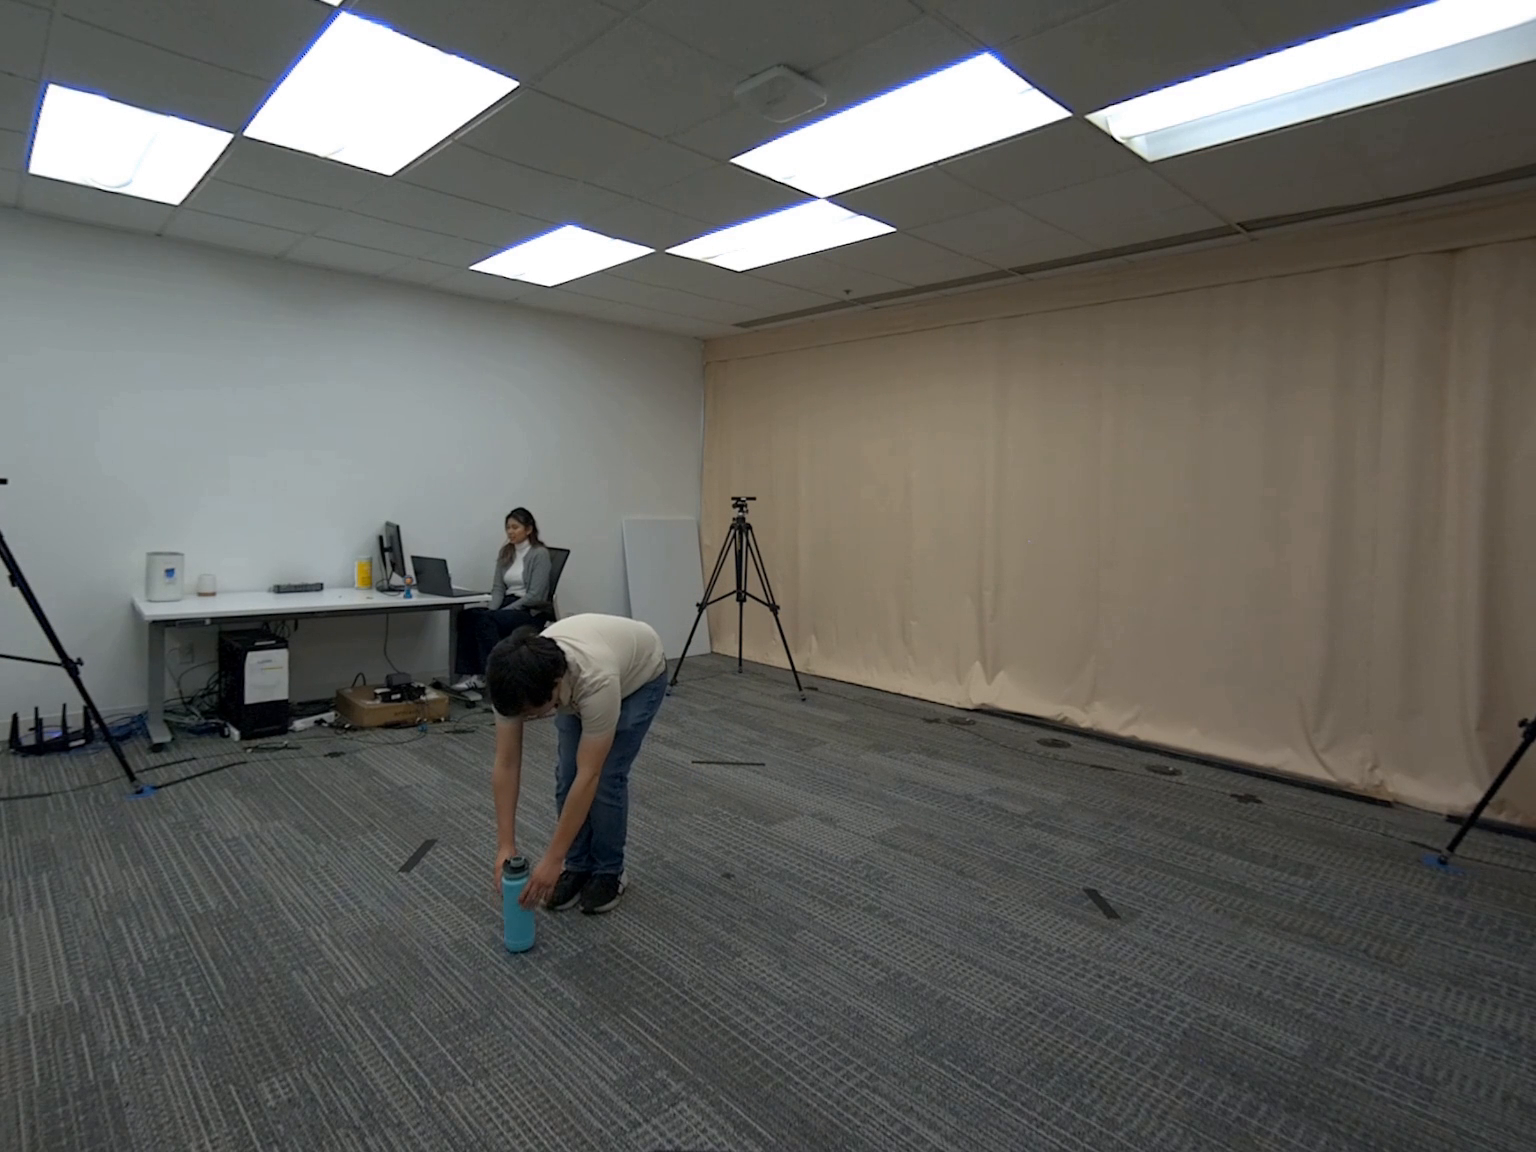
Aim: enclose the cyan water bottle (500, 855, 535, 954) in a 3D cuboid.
[{"bbox_3d":[-0.780,0.993,2.567,0.092,0.282,0.093,0,6,-1],"label":"cyan water bottle"}]
